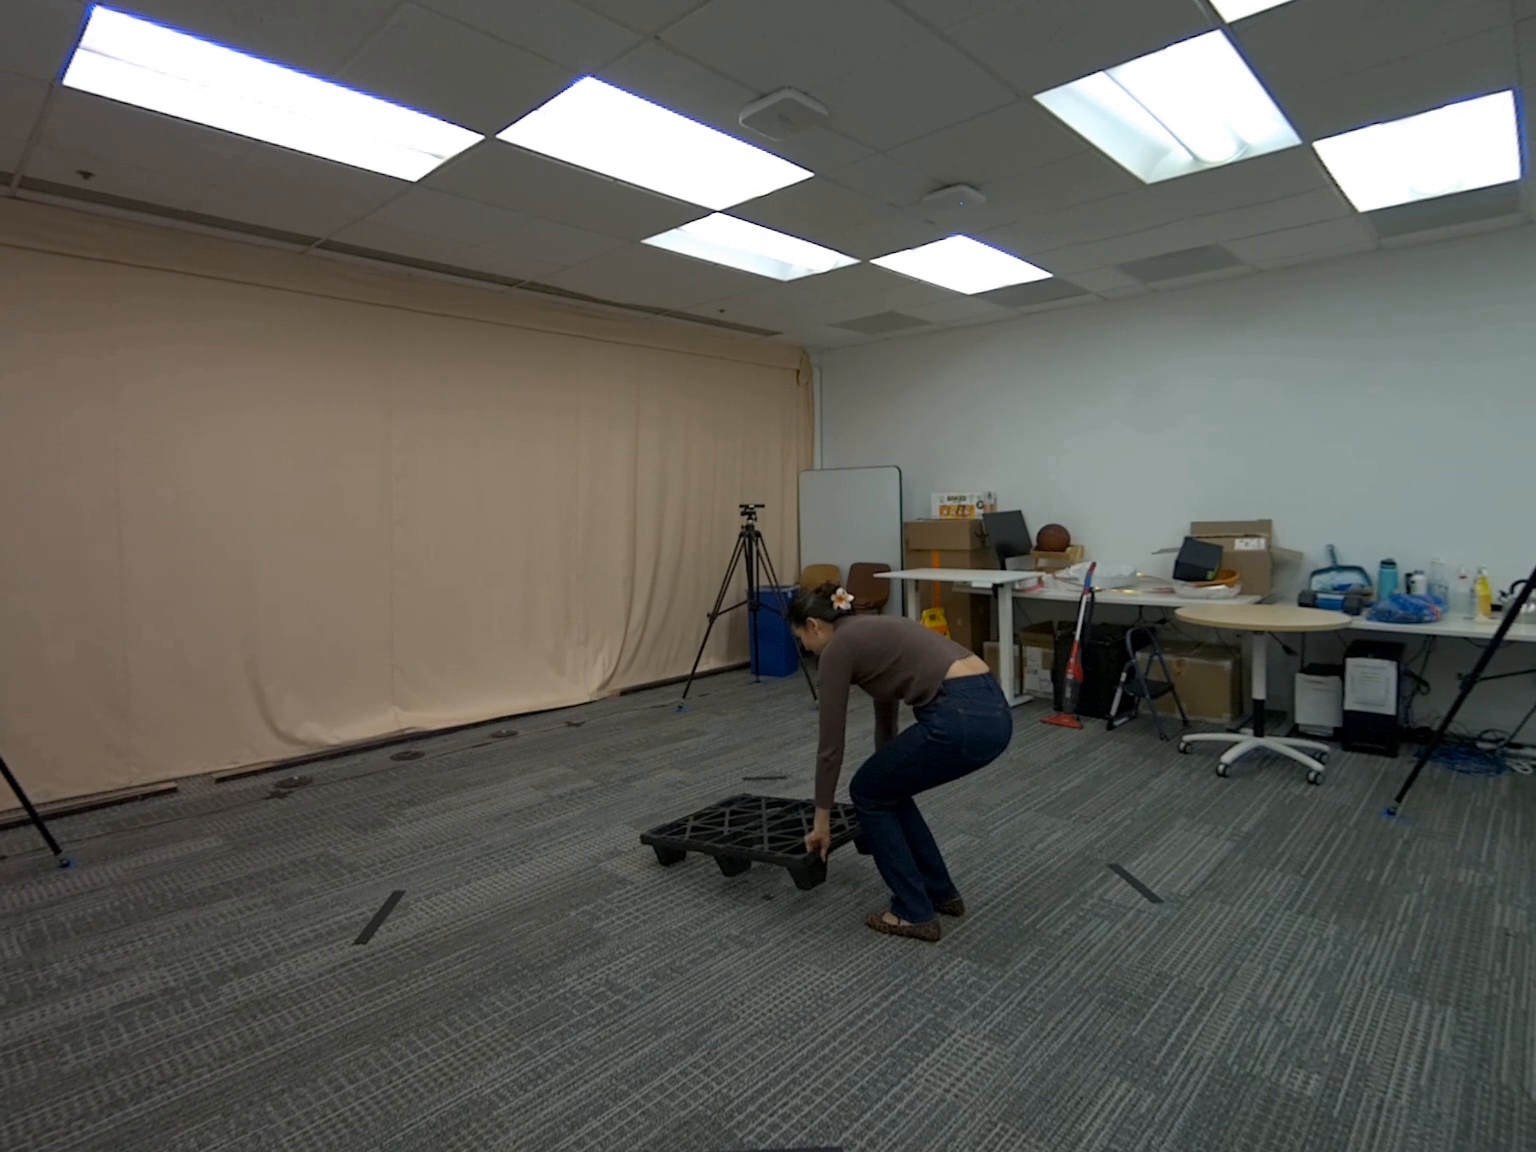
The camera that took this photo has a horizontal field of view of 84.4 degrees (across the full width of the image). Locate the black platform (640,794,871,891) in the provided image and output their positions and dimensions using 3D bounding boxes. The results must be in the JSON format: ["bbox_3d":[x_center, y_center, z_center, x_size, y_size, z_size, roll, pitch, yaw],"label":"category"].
[{"bbox_3d":[0.000,1.002,3.202,0.829,0.143,0.587,-8,0,41],"label":"black platform"}]
